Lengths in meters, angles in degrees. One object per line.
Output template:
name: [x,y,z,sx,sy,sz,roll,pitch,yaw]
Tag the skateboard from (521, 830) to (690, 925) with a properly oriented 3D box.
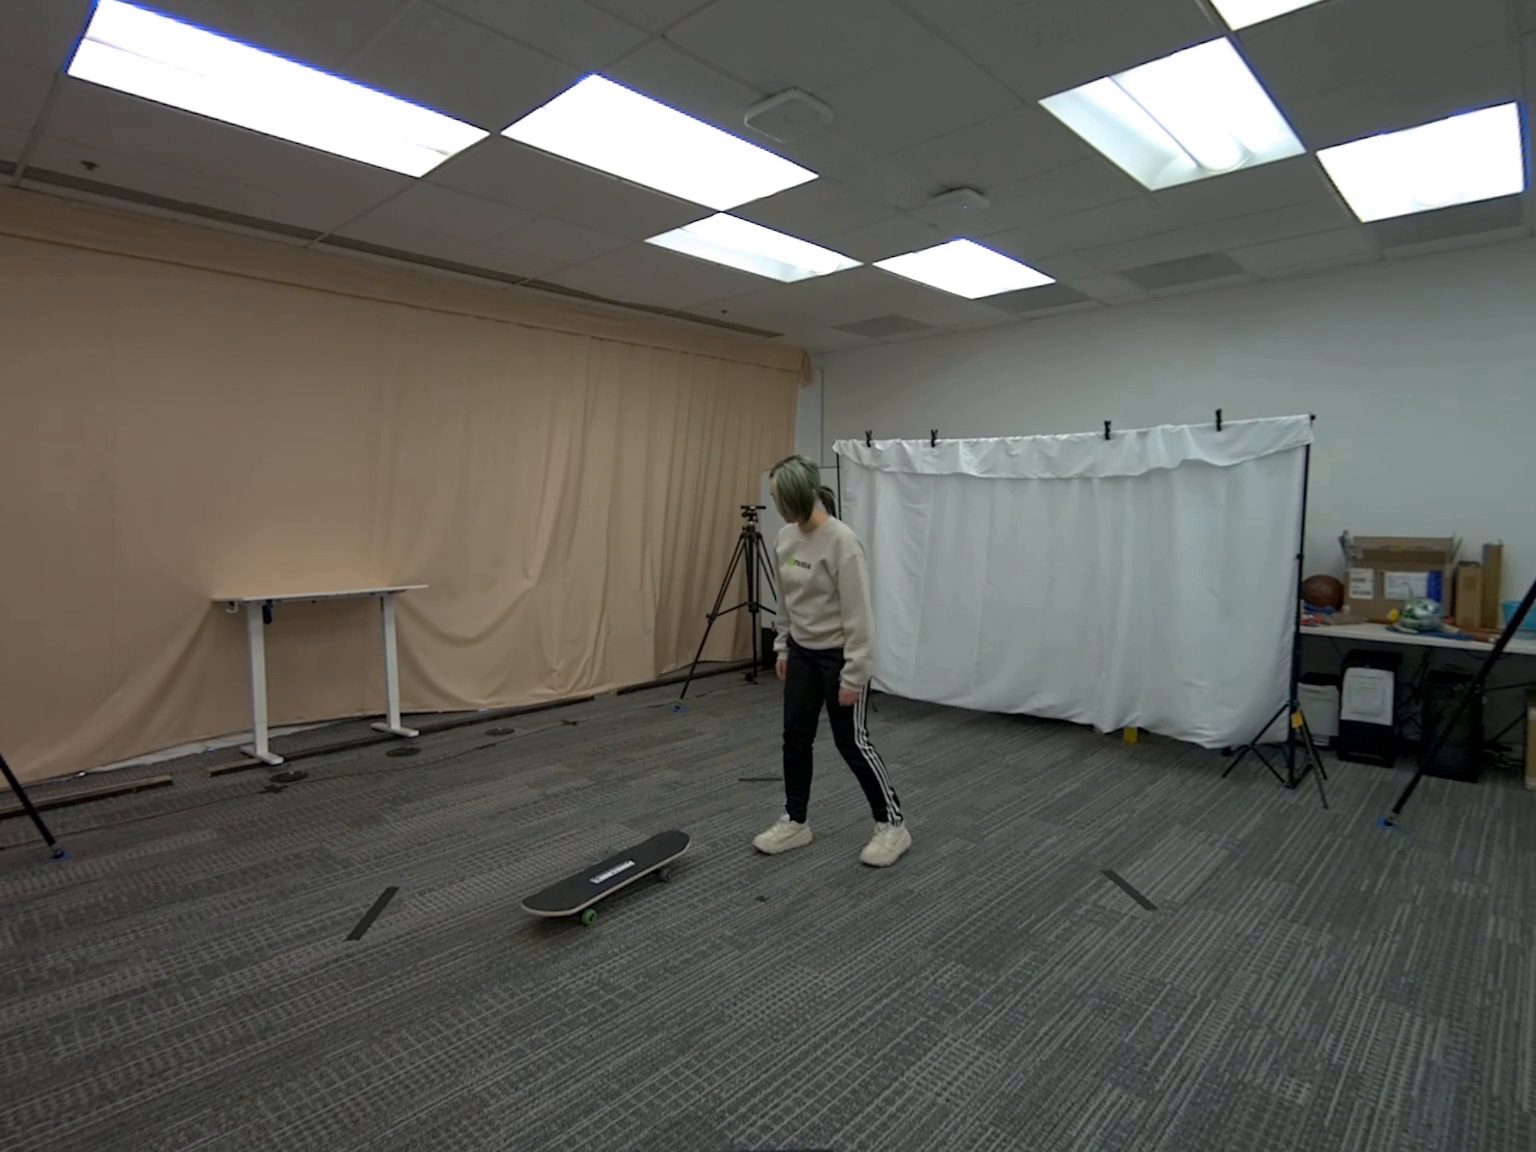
skateboard: [-0.558,1.091,3.014,0.199,0.110,0.763,2,5,34]
